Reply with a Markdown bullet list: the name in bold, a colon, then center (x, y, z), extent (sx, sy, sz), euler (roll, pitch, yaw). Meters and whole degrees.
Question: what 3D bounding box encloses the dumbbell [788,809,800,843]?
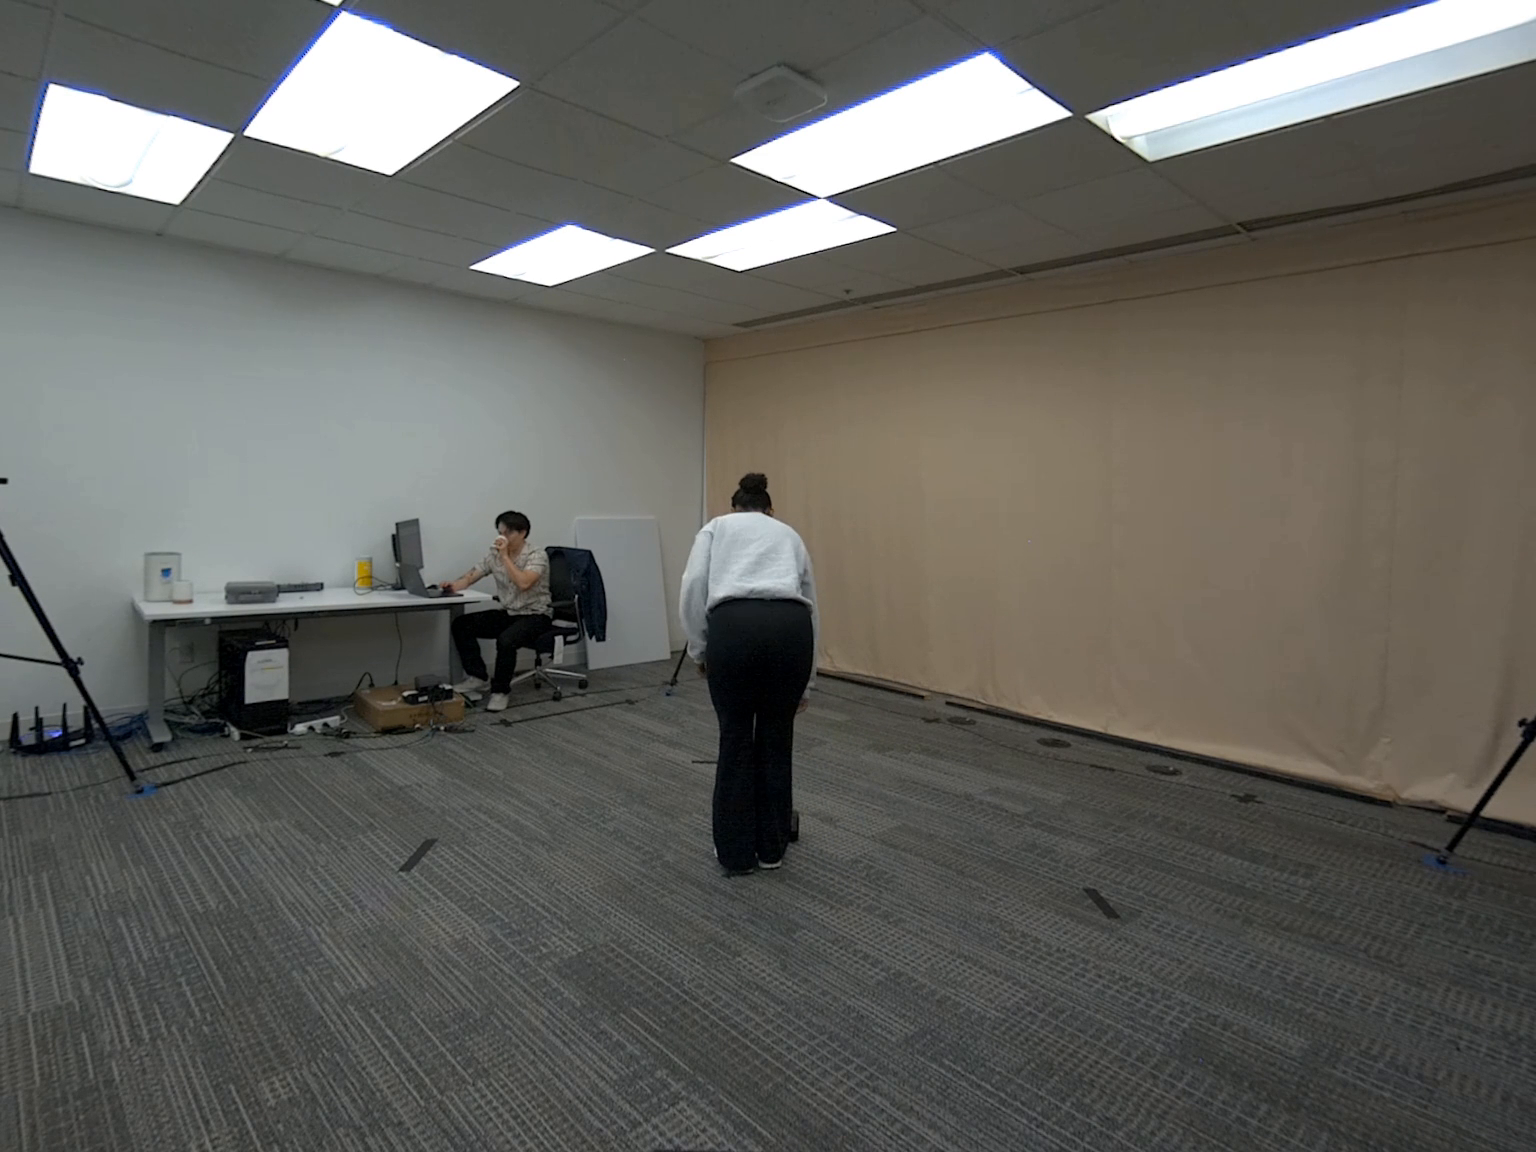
- **dumbbell**: center (-0.023, 1.031, 3.465), extent (0.294, 0.120, 0.111), euler (2, 35, 2)
